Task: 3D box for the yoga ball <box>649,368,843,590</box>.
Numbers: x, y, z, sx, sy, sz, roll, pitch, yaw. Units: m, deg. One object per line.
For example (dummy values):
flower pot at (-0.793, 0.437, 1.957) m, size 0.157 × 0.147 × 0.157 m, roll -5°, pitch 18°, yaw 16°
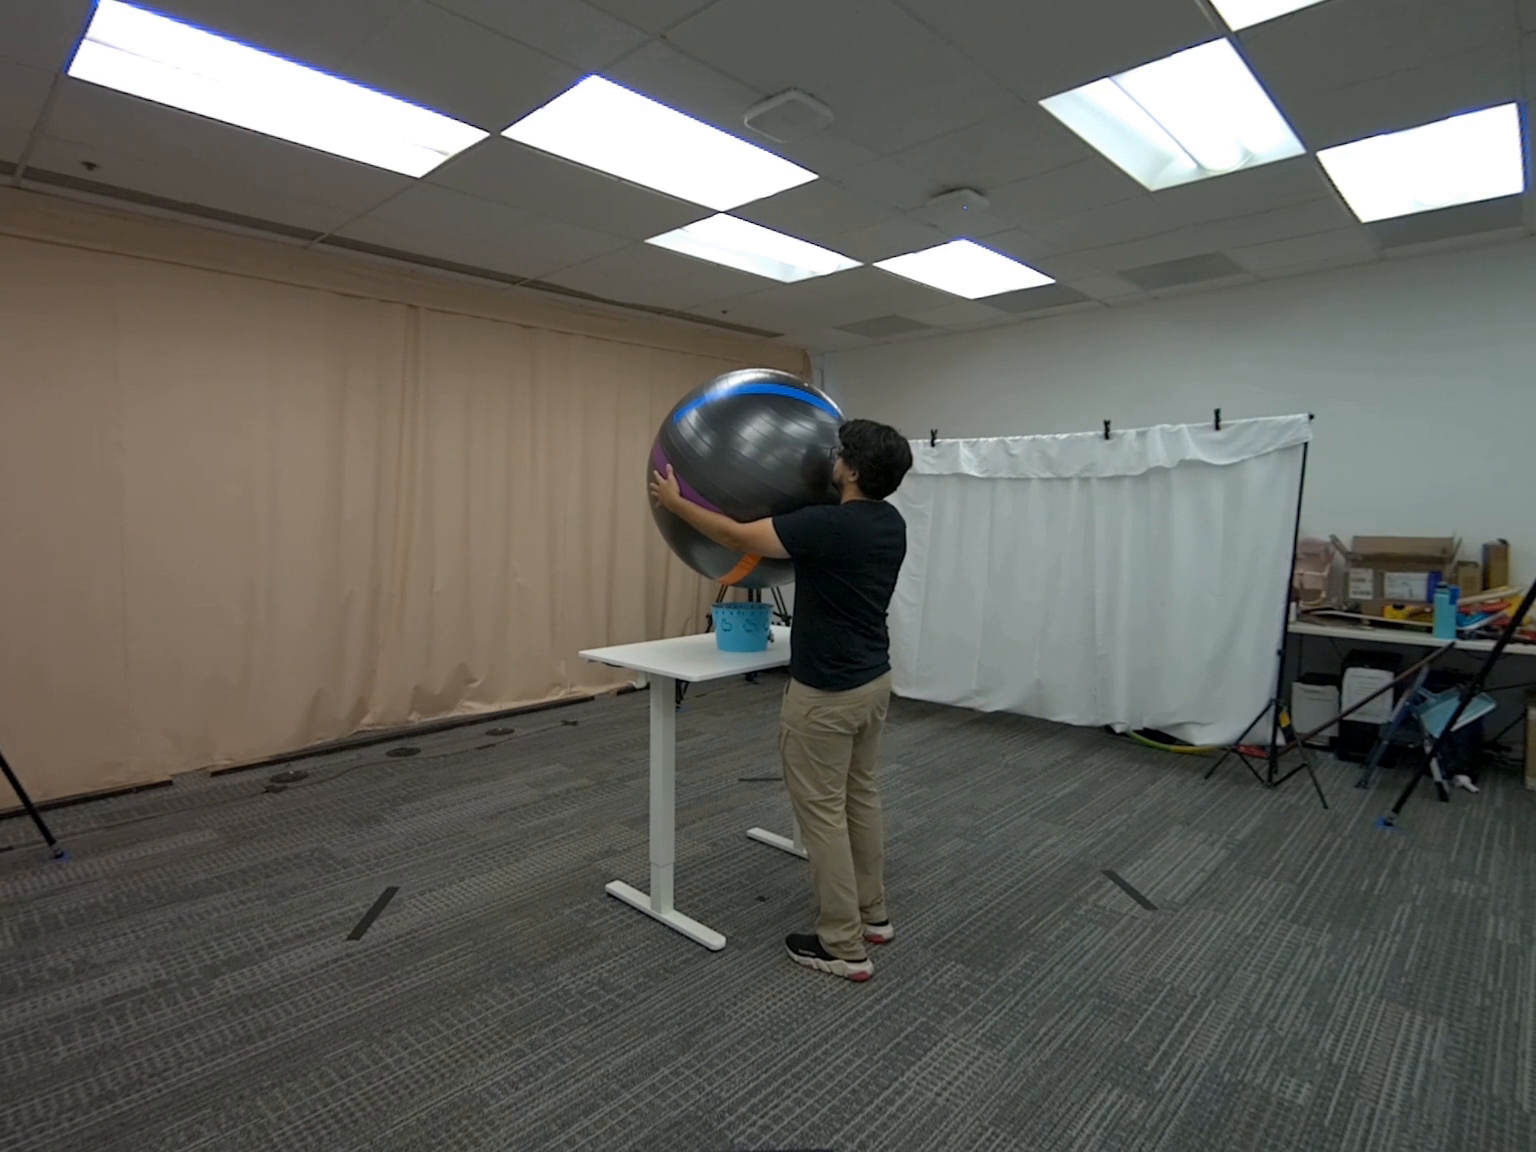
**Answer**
yoga ball at (-0.039, -0.331, 2.934) m, size 0.757 × 0.756 × 0.760 m, roll 0°, pitch 4°, yaw -2°
